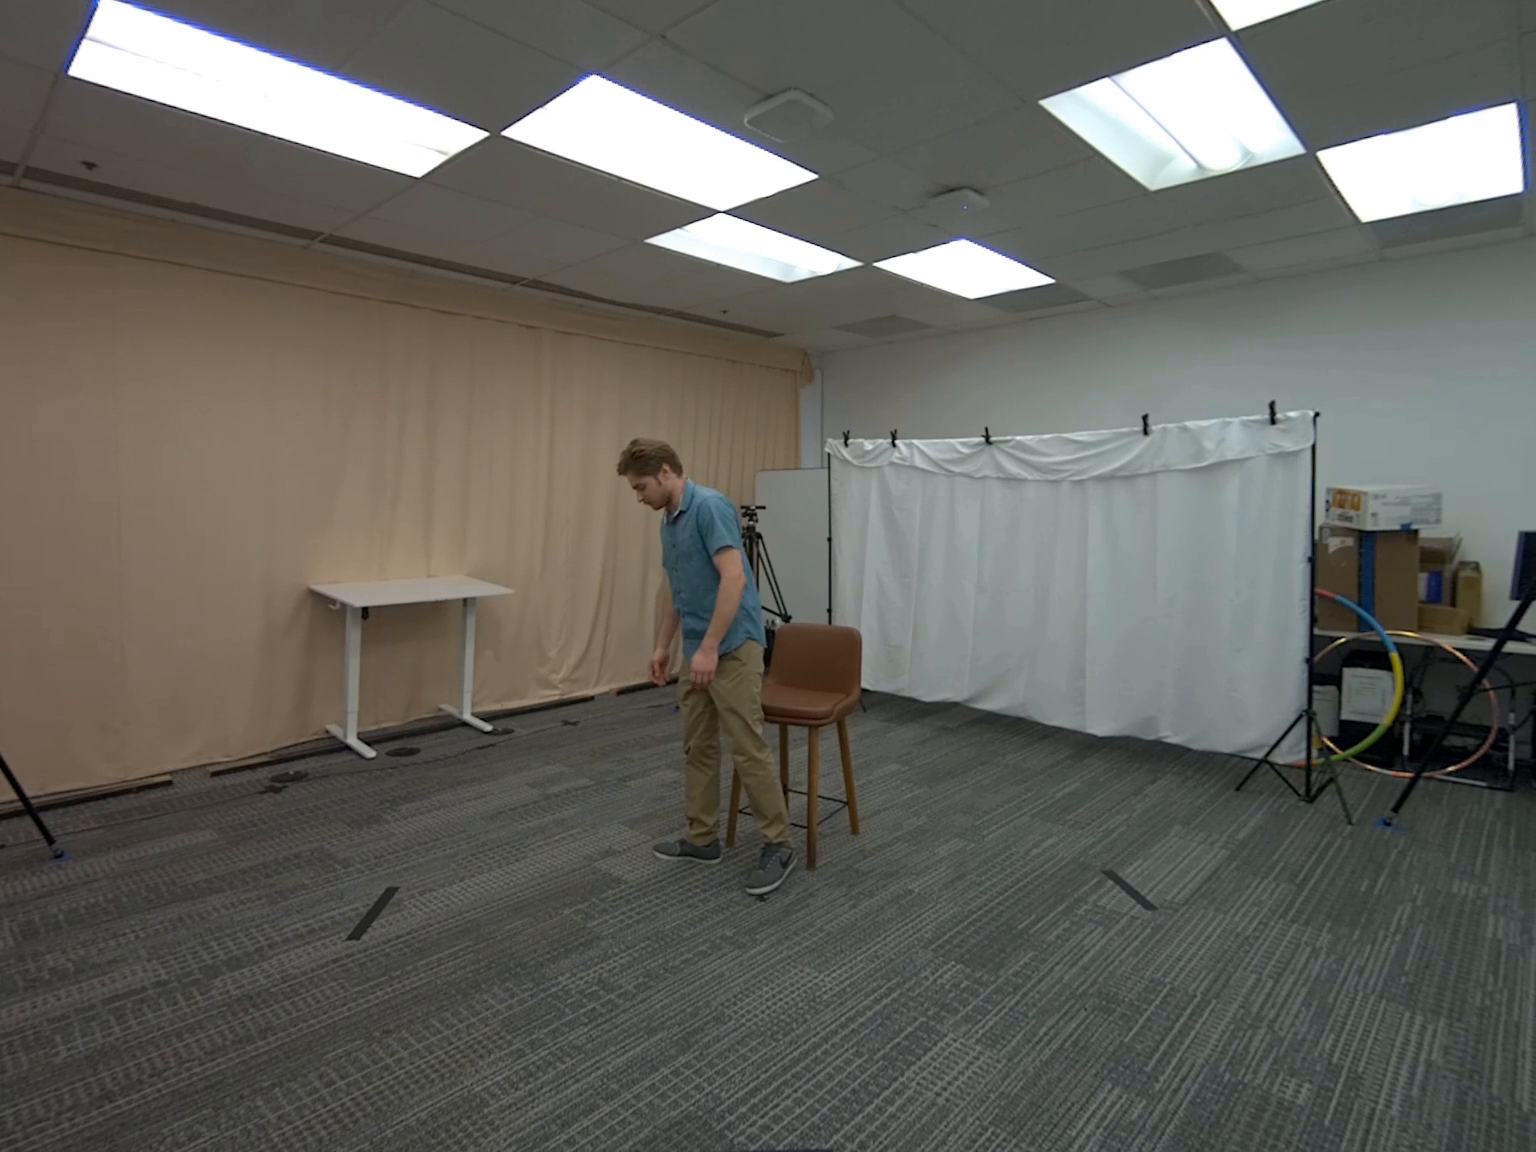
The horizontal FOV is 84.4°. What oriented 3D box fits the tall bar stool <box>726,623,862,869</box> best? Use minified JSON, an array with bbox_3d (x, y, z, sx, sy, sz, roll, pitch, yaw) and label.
[{"bbox_3d":[0.123,0.664,3.489,0.470,0.889,0.454,3,2,33],"label":"tall bar stool"}]
